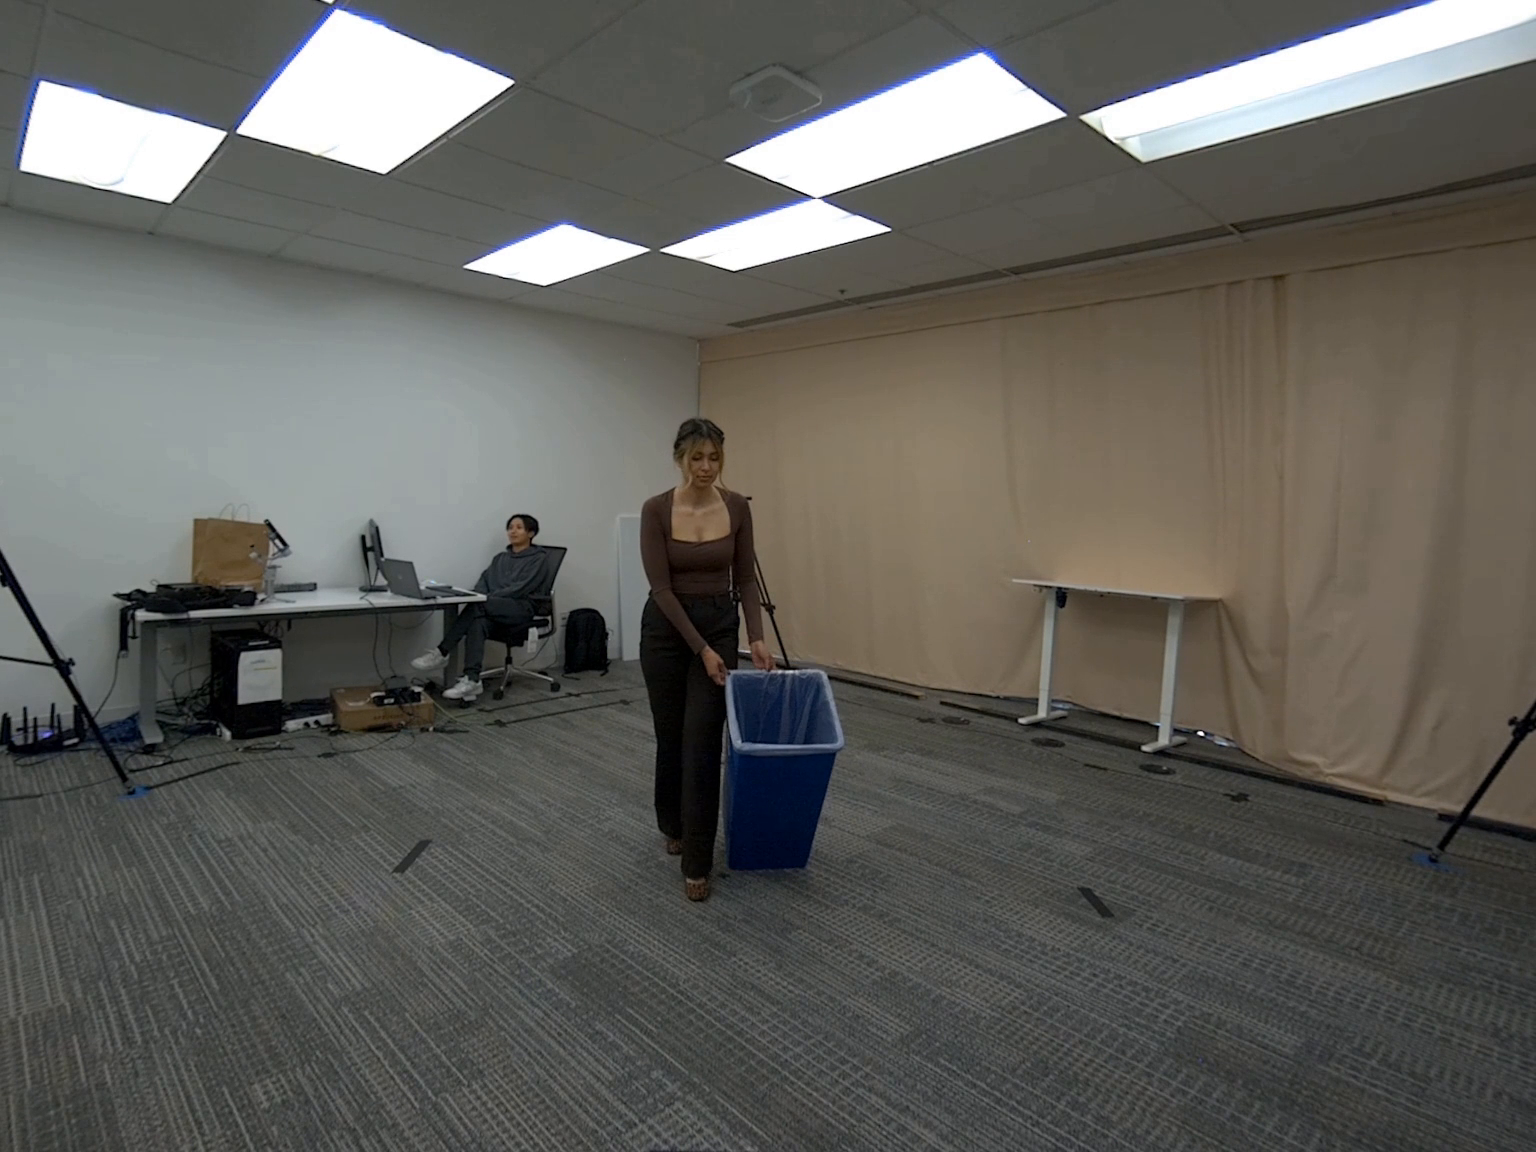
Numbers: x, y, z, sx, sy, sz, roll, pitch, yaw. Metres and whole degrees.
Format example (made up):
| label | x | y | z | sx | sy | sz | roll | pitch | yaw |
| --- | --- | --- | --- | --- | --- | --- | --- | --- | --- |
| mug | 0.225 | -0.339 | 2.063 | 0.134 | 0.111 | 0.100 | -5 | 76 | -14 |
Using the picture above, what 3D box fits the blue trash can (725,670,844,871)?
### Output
| label | x | y | z | sx | sy | sz | roll | pitch | yaw |
| --- | --- | --- | --- | --- | --- | --- | --- | --- | --- |
| blue trash can | 0.003 | 0.732 | 3.081 | 0.371 | 0.701 | 0.387 | 1 | 35 | -9 |
